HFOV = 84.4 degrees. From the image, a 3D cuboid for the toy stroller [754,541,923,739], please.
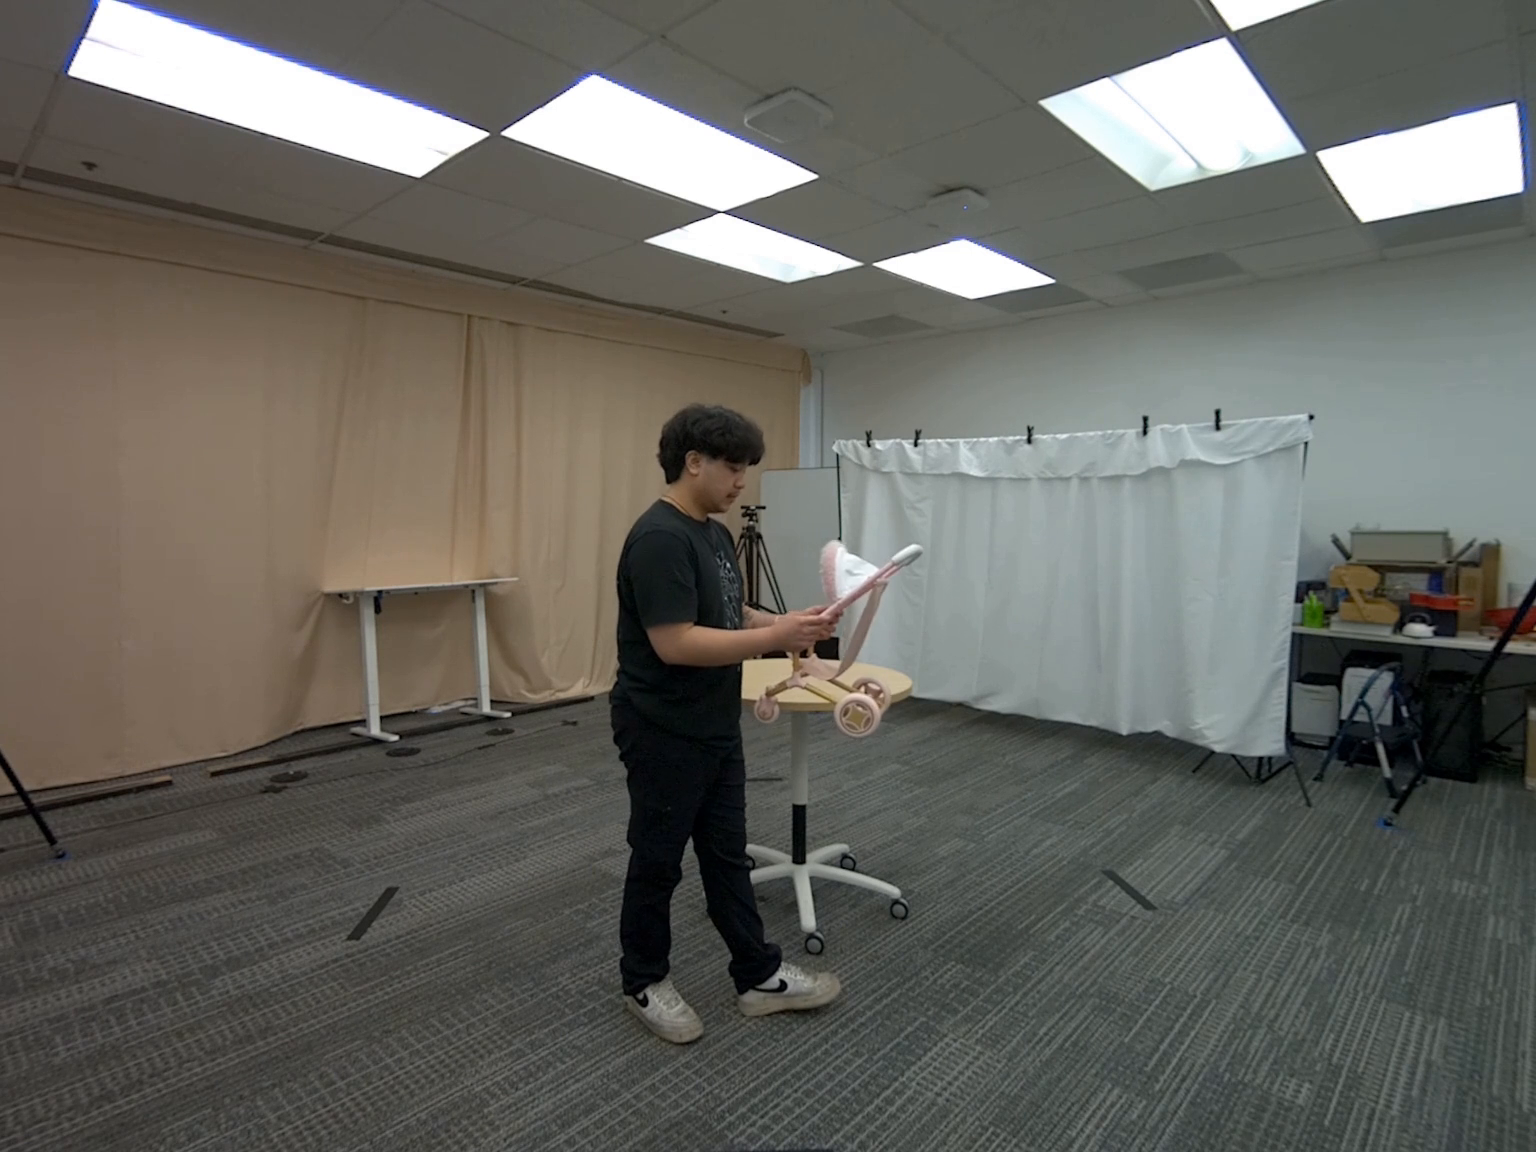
[{"bbox_3d":[0.177,0.154,2.129,0.349,0.534,0.275,12,5,19],"label":"toy stroller"}]
